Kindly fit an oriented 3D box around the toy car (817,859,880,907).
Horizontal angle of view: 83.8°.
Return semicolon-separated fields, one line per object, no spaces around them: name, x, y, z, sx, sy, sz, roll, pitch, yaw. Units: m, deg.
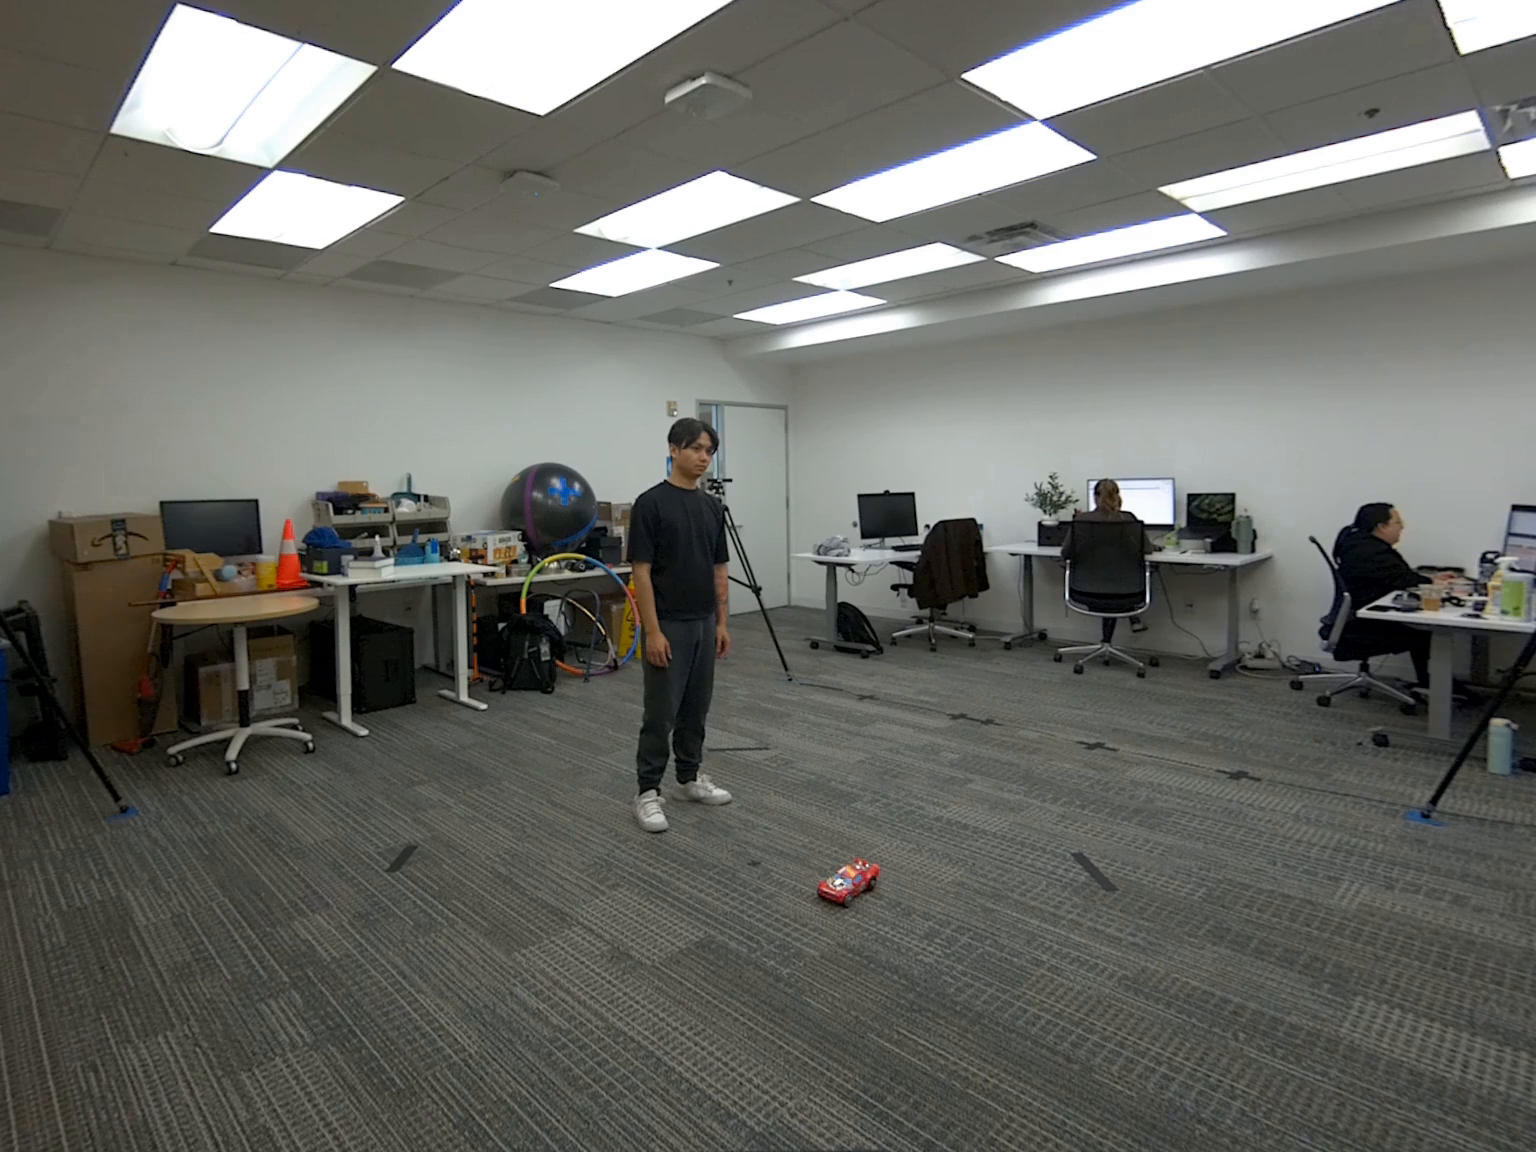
toy car;0.283;1.033;2.885;0.134;0.082;0.250;3;18;41
